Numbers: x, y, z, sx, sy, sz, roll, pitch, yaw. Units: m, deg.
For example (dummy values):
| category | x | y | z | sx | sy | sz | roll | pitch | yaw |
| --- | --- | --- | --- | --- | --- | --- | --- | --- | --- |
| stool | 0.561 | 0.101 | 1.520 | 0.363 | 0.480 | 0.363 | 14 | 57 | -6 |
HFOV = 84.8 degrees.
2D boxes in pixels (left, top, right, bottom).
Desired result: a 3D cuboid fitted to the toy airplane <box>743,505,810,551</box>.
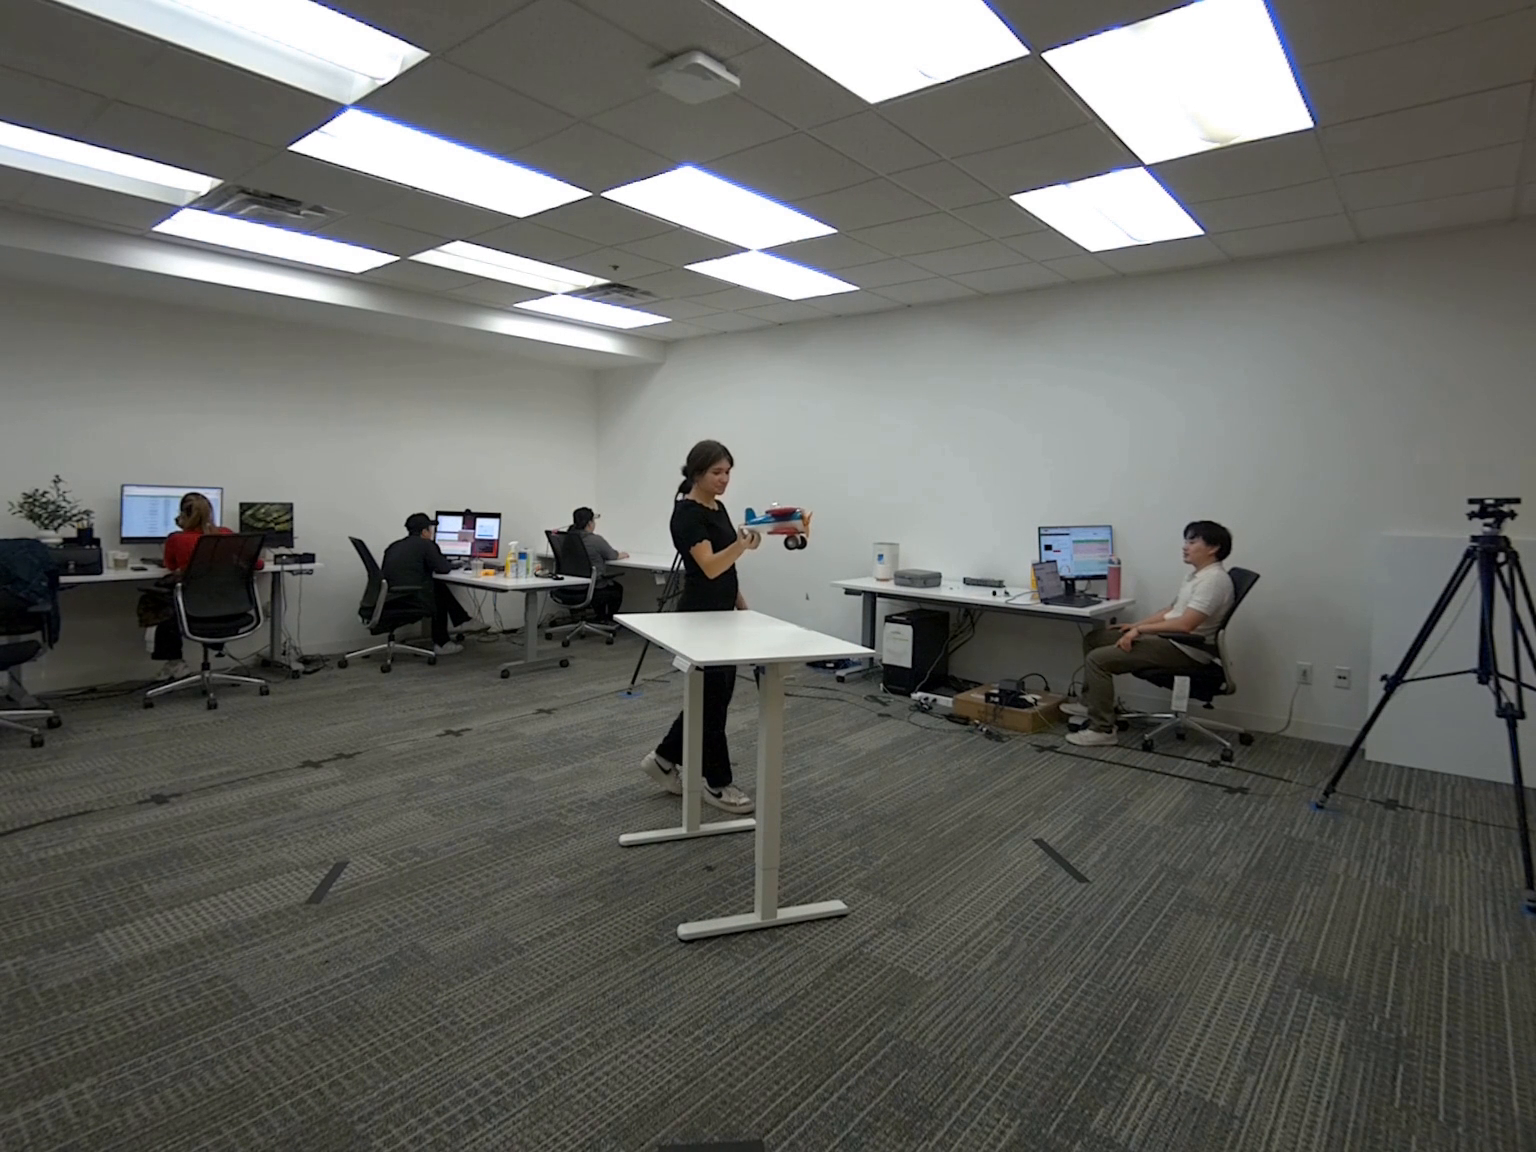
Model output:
| category | x | y | z | sx | sy | sz | roll | pitch | yaw |
| --- | --- | --- | --- | --- | --- | --- | --- | --- | --- |
| toy airplane | 0.010 | -0.186 | 3.164 | 0.258 | 0.156 | 0.253 | 8 | 5 | -5 |
